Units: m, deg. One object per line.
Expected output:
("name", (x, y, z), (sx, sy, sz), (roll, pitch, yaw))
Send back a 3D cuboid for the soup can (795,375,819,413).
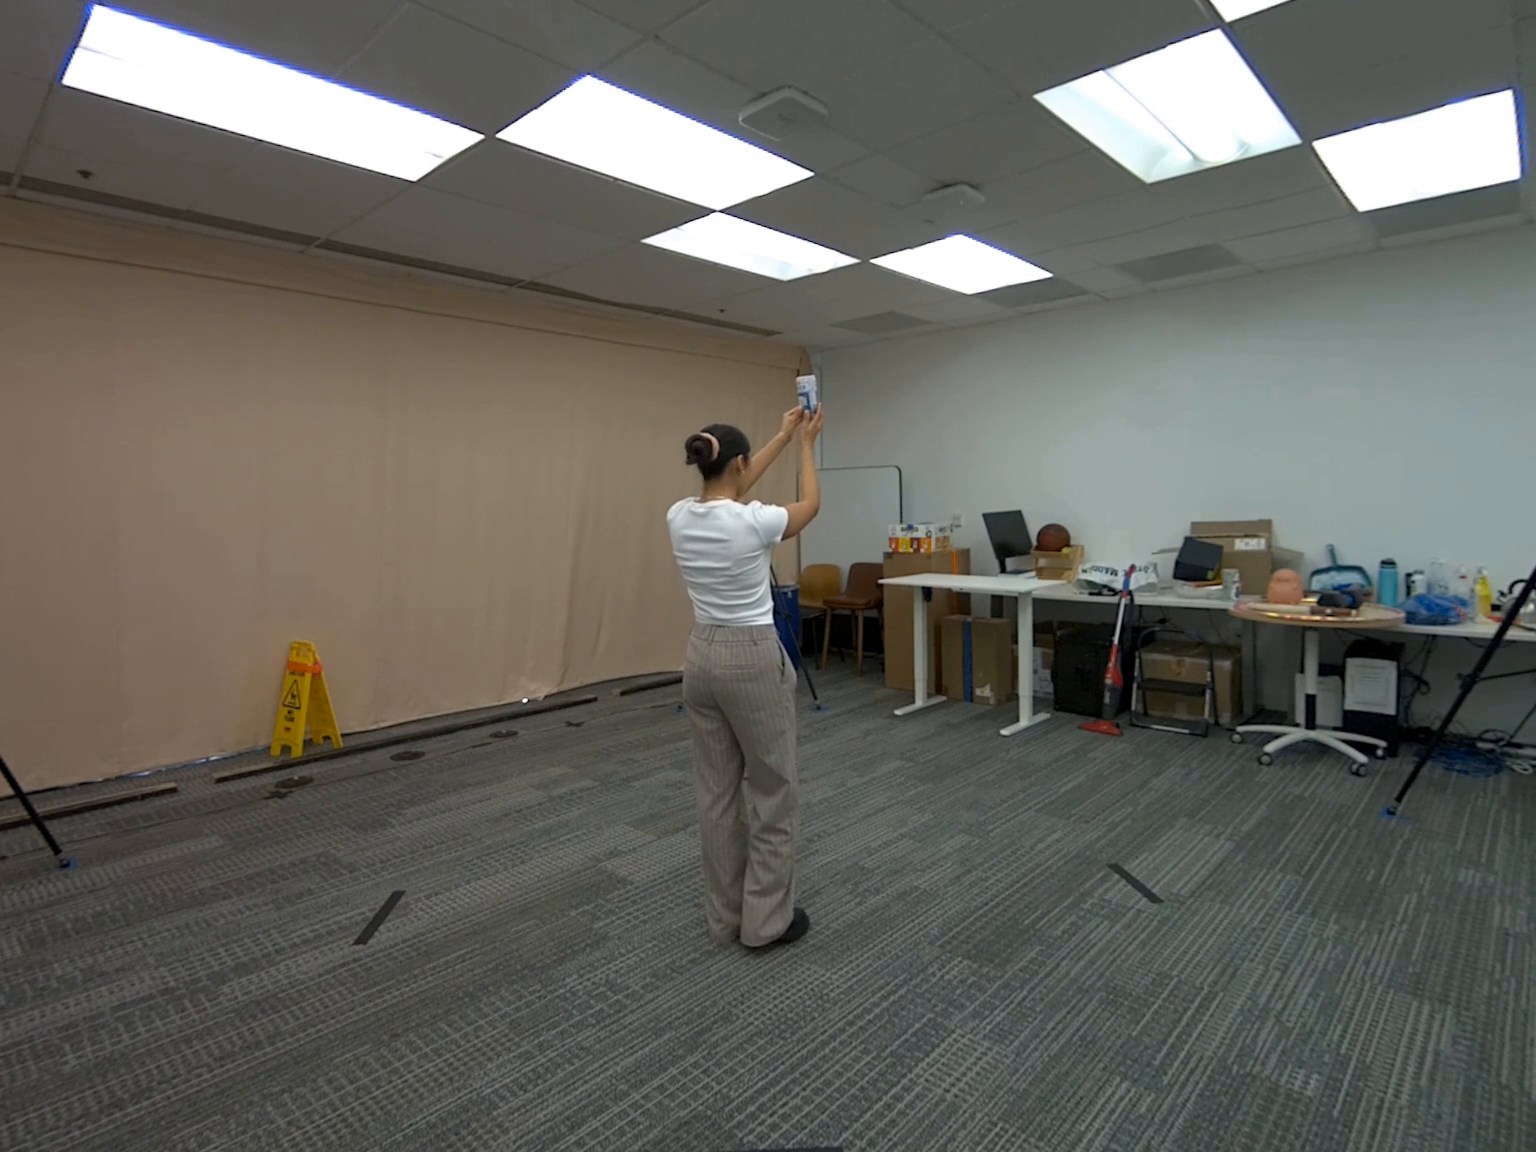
("soup can", (0.141, -0.629, 2.887), (0.067, 0.121, 0.067), (-5, 7, -1))
